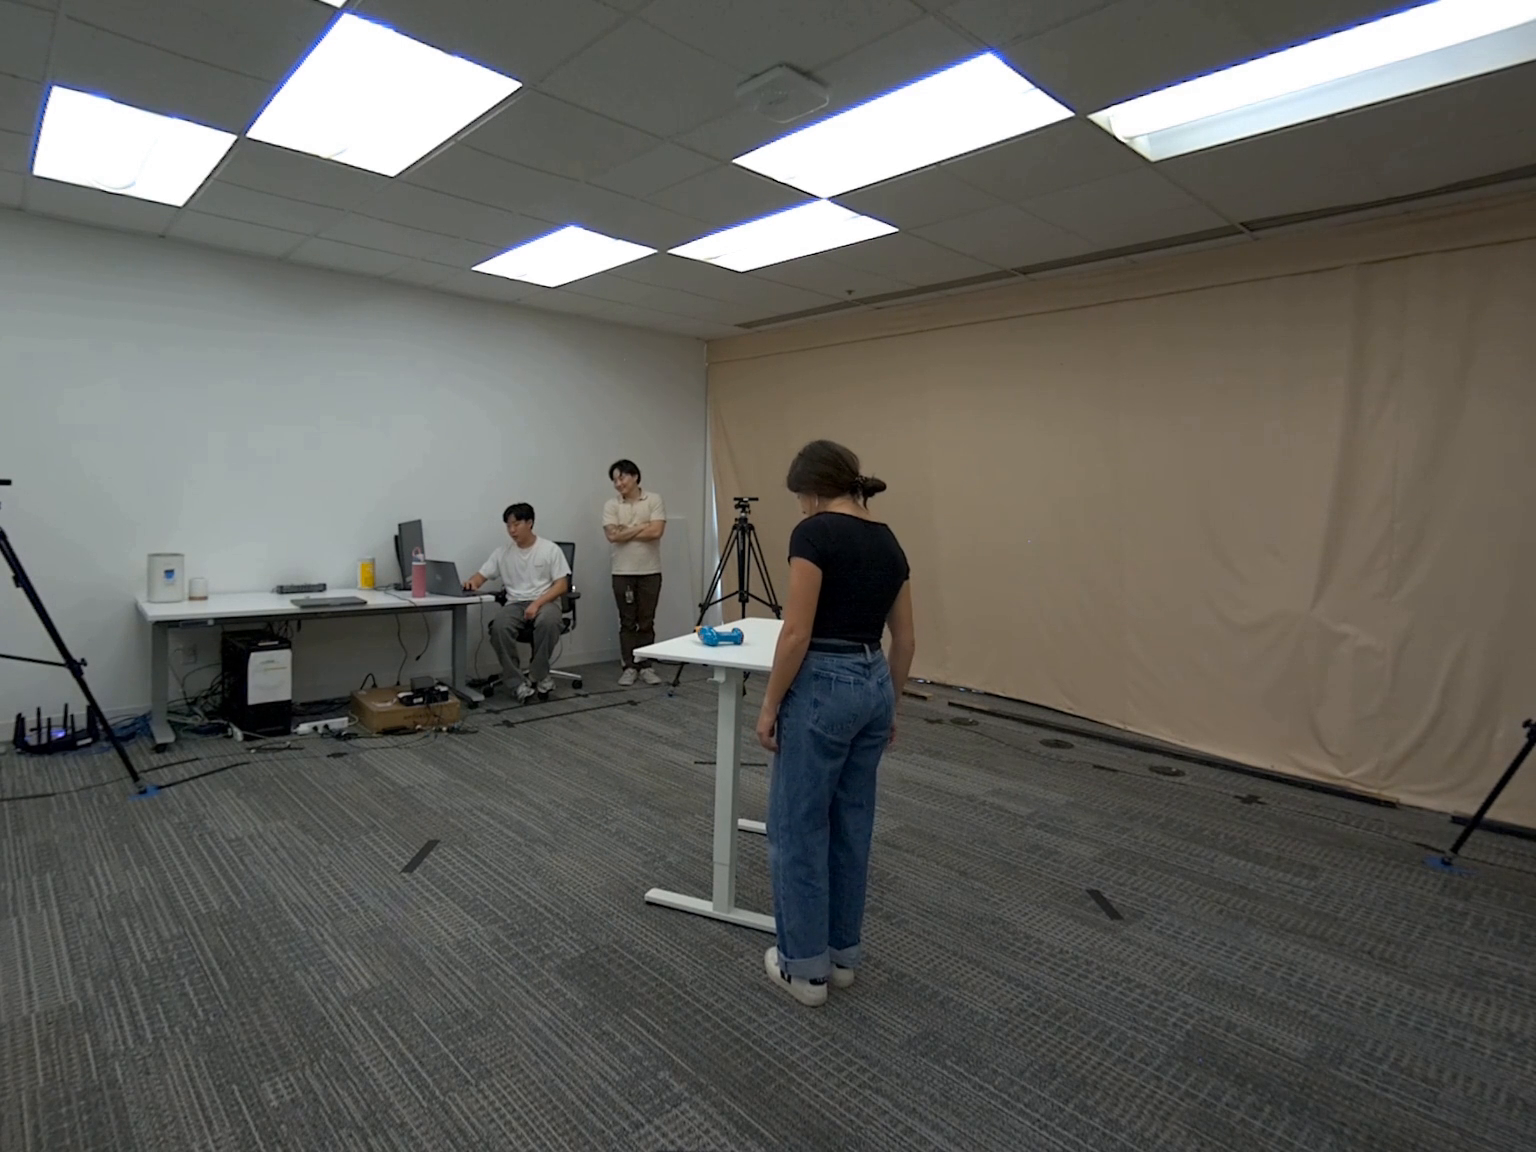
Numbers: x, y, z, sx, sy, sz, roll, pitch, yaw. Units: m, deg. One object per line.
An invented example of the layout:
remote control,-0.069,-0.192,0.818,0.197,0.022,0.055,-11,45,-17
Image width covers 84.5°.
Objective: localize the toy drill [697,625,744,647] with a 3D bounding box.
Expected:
toy drill,-0.191,0.207,2.955,0.143,0.061,0.174,1,10,-30
